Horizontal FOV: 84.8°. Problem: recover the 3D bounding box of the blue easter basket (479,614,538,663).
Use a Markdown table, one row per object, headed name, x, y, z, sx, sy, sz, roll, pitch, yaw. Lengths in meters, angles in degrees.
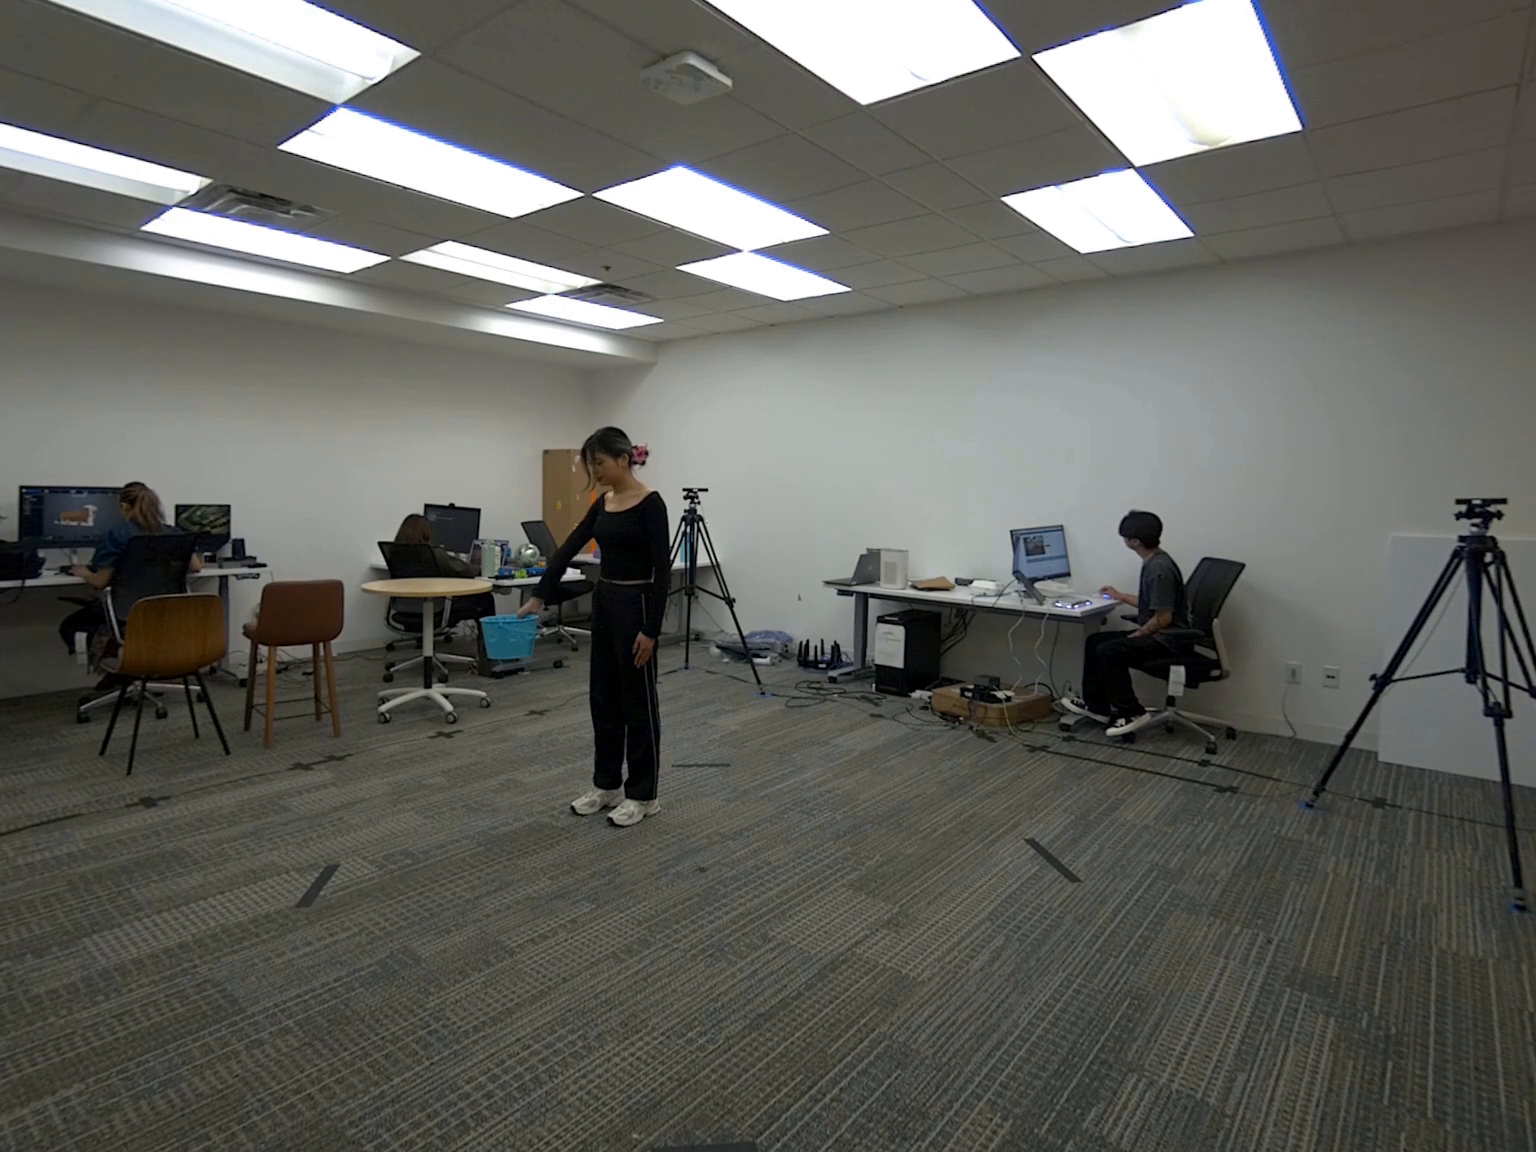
| name | x | y | z | sx | sy | sz | roll | pitch | yaw |
| --- | --- | --- | --- | --- | --- | --- | --- | --- | --- |
| blue easter basket | -1.066 | 0.249 | 3.436 | 0.243 | 0.156 | 0.244 | -2 | 2 | -2 |
